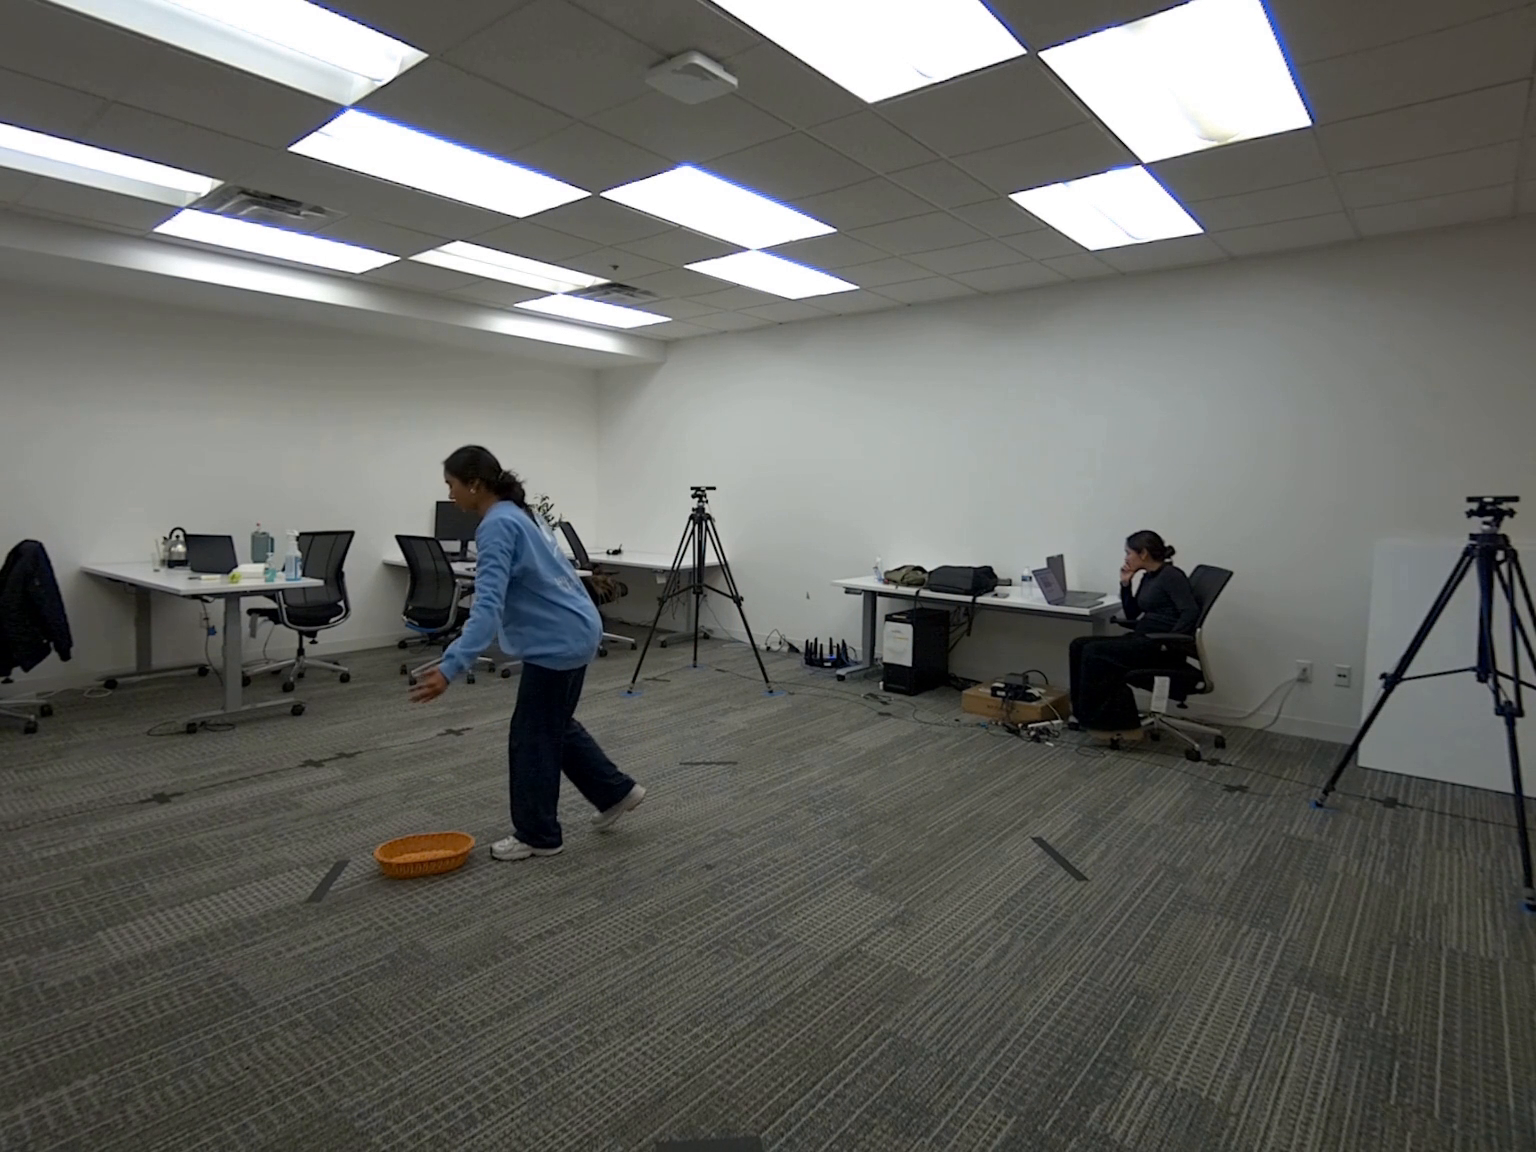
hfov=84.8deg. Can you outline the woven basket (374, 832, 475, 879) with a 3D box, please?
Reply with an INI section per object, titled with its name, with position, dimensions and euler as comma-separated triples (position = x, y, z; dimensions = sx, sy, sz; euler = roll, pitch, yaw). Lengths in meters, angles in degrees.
[woven basket]
position = -1.264, 1.016, 3.102
dimensions = 0.344, 0.073, 0.258
euler = -2, 5, -20
